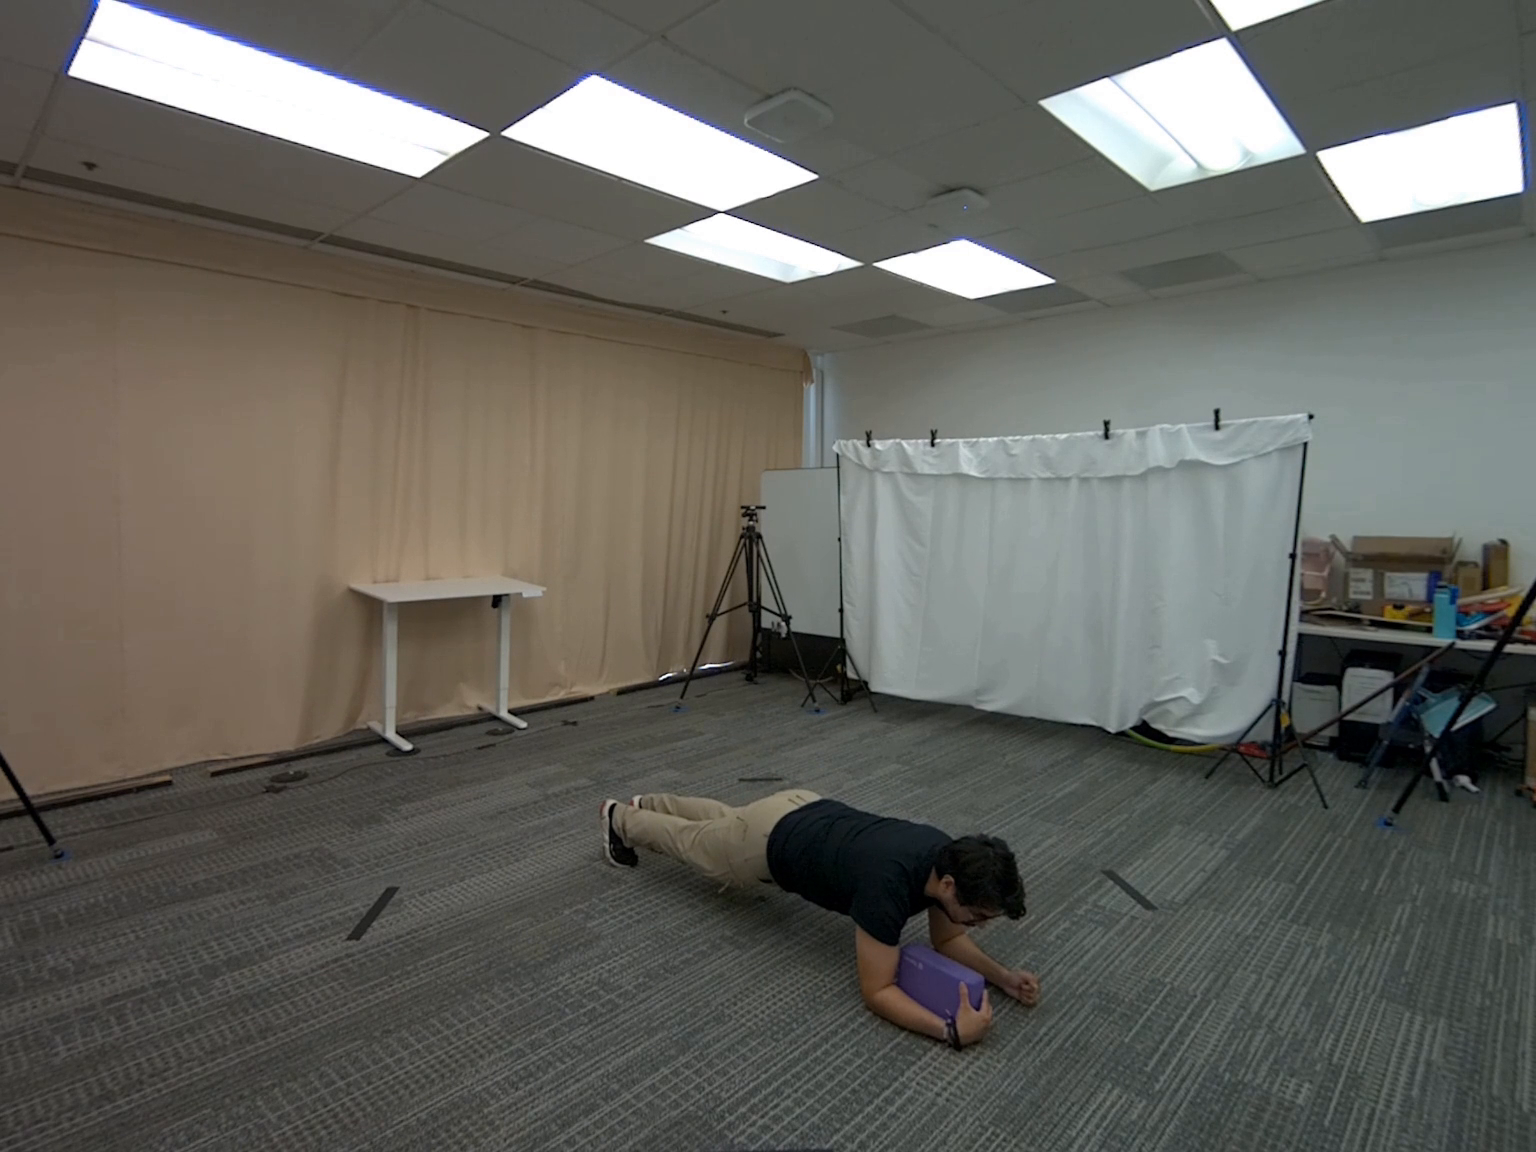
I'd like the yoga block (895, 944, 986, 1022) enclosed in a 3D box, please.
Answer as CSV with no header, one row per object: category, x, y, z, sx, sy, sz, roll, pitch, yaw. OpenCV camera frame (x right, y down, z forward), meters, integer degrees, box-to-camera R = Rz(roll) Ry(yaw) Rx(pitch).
yoga block,0.466,1.123,2.283,0.074,0.149,0.237,7,0,-42
